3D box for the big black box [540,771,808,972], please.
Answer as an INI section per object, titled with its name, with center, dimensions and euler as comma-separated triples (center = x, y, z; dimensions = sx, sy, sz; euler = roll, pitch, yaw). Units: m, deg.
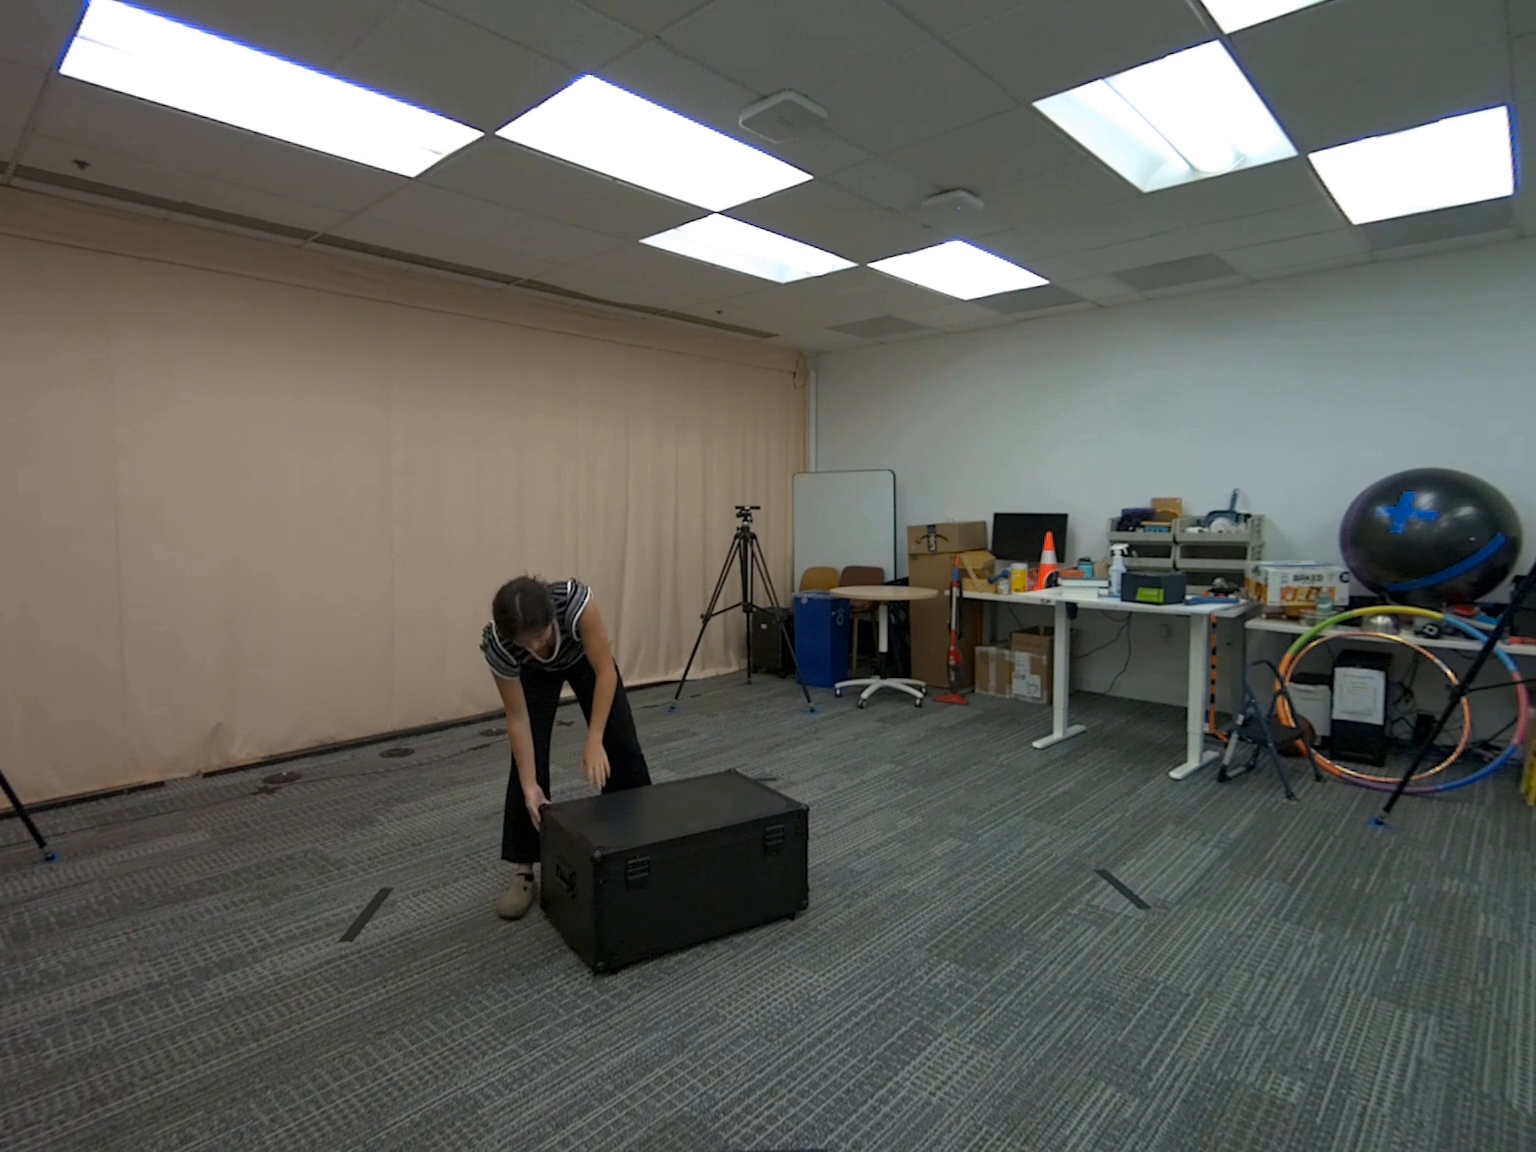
[big black box]
center = -0.287, 0.962, 2.870
dimensions = 0.838, 0.395, 0.537
euler = -4, 5, -33
